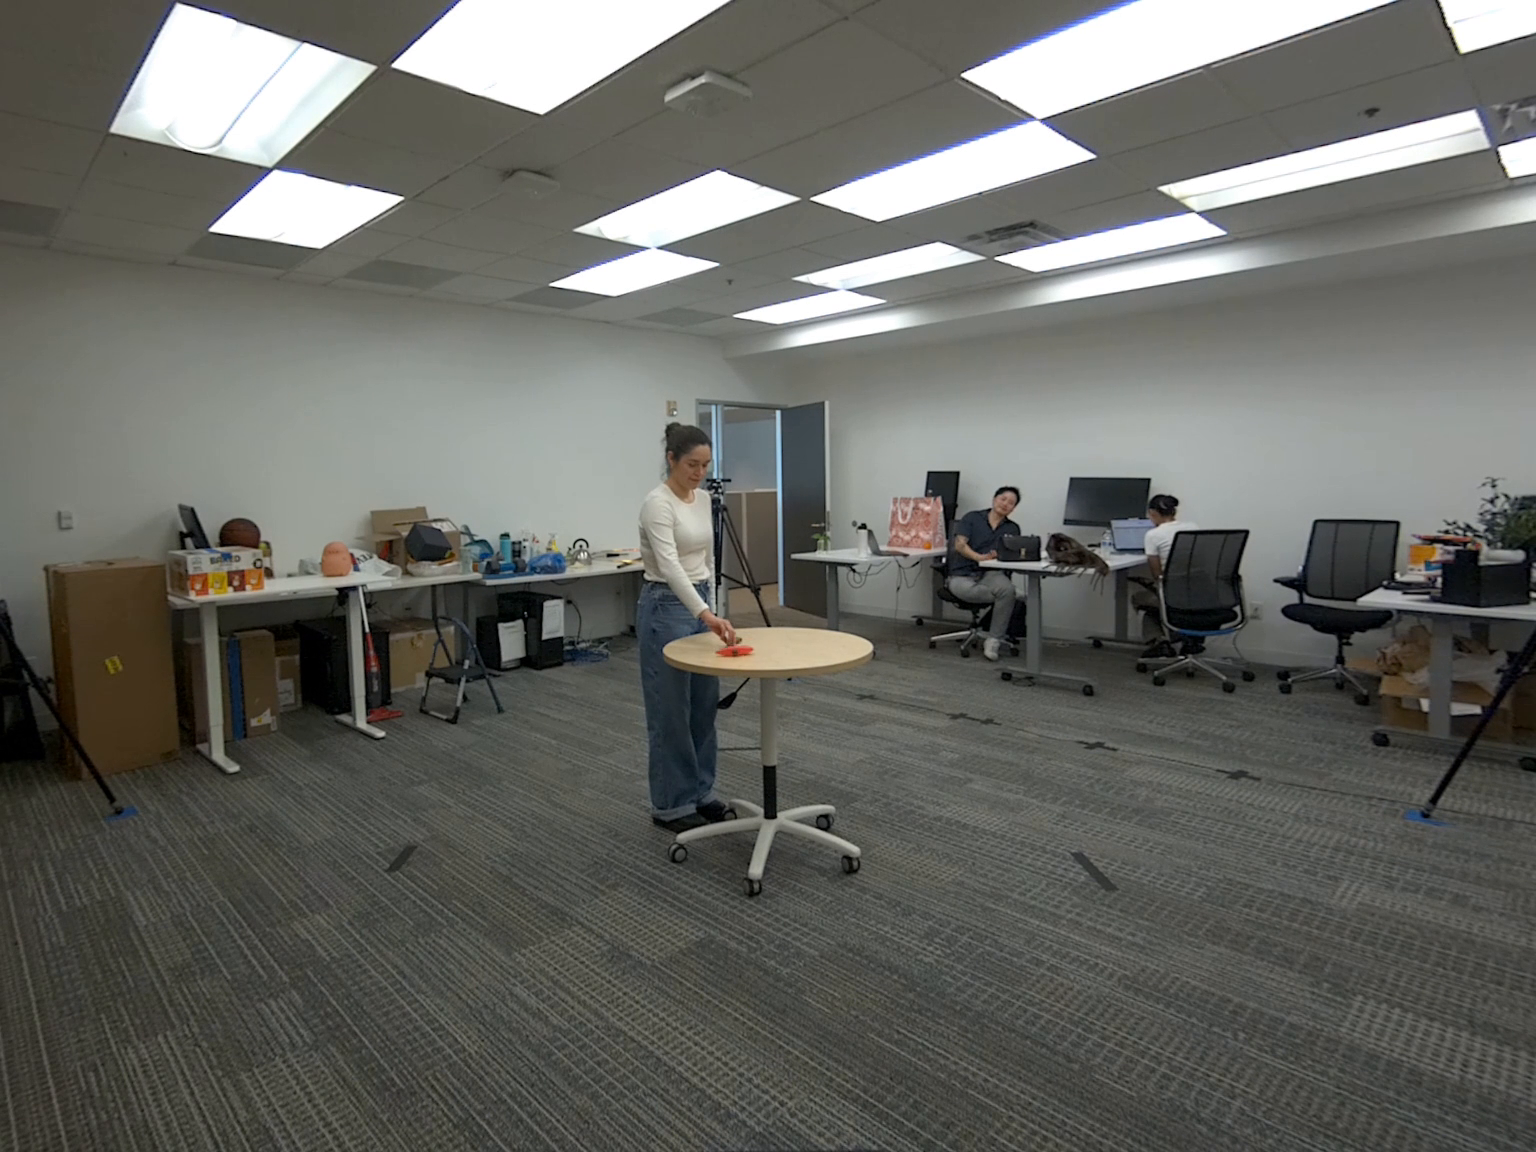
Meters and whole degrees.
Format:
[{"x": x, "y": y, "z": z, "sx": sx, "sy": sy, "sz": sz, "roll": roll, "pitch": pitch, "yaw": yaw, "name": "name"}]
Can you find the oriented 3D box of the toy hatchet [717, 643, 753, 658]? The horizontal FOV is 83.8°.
[{"x": -0.098, "y": 0.251, "z": 3.085, "sx": 0.132, "sy": 0.029, "sz": 0.268, "roll": -5, "pitch": 5, "yaw": 13, "name": "toy hatchet"}]
